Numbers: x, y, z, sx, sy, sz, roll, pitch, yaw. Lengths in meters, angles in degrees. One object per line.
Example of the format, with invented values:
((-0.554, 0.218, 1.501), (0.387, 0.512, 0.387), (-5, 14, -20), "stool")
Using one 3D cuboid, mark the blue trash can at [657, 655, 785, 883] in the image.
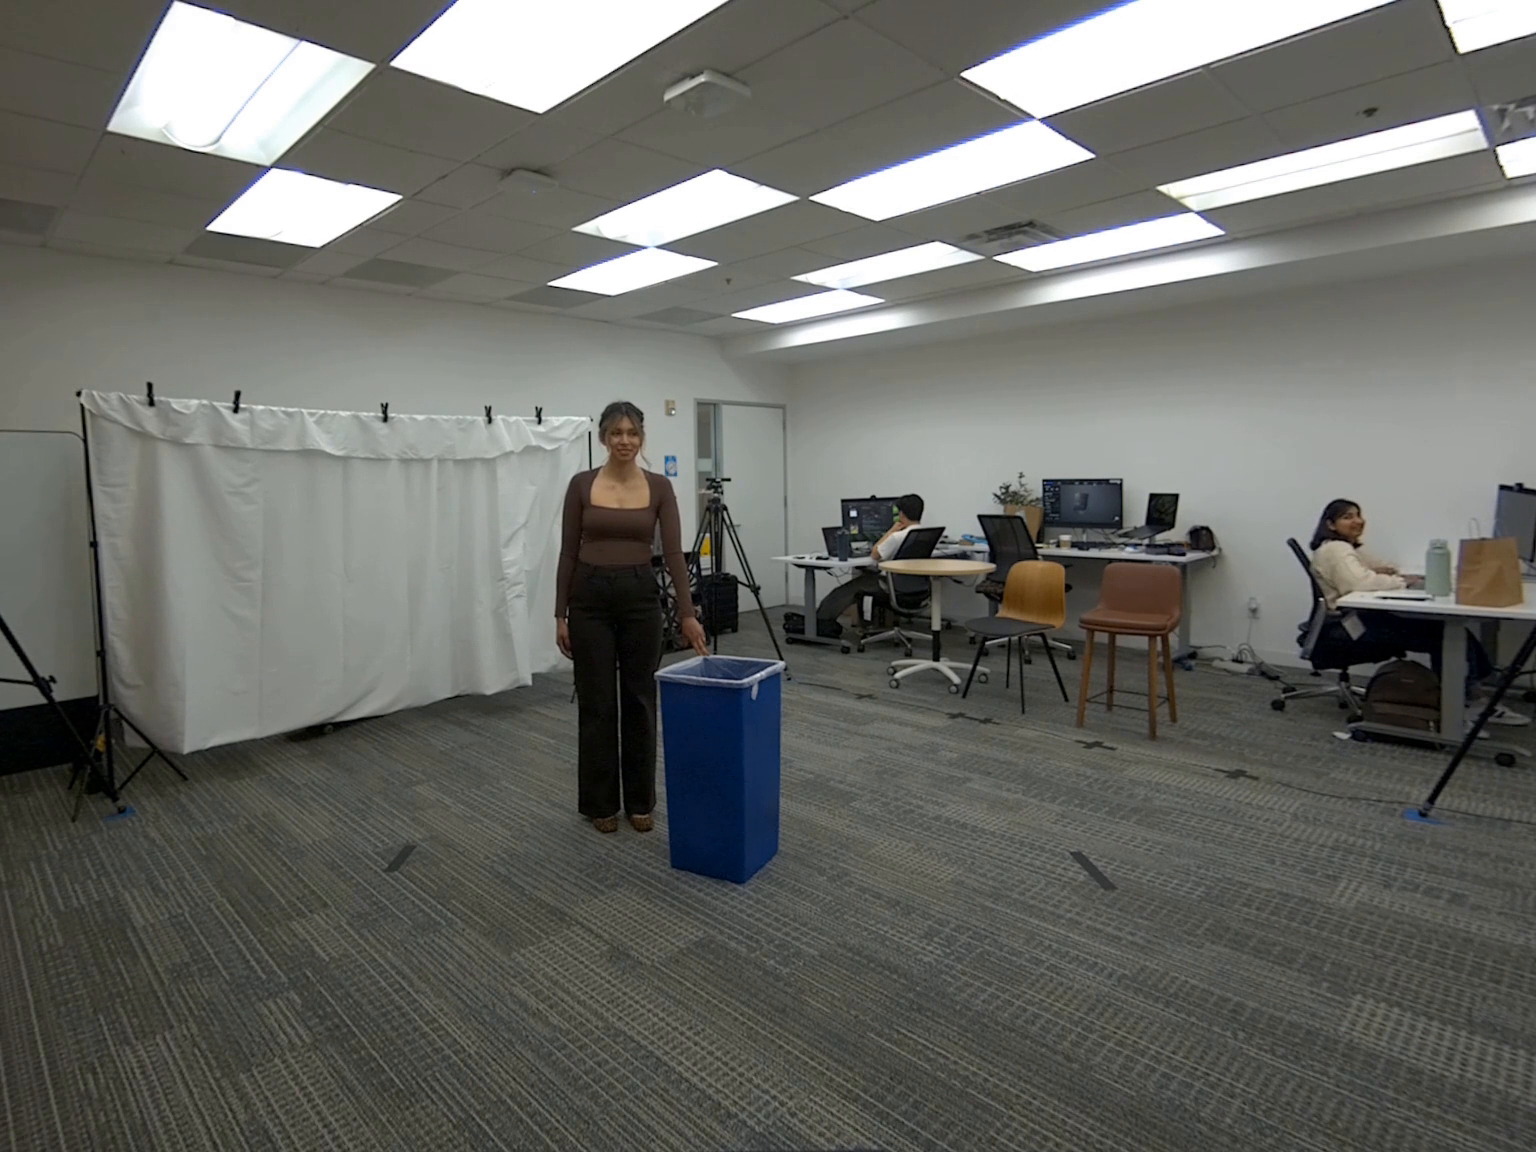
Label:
((-0.165, 0.683, 3.118), (0.383, 0.711, 0.370), (1, 4, 27), "blue trash can")
